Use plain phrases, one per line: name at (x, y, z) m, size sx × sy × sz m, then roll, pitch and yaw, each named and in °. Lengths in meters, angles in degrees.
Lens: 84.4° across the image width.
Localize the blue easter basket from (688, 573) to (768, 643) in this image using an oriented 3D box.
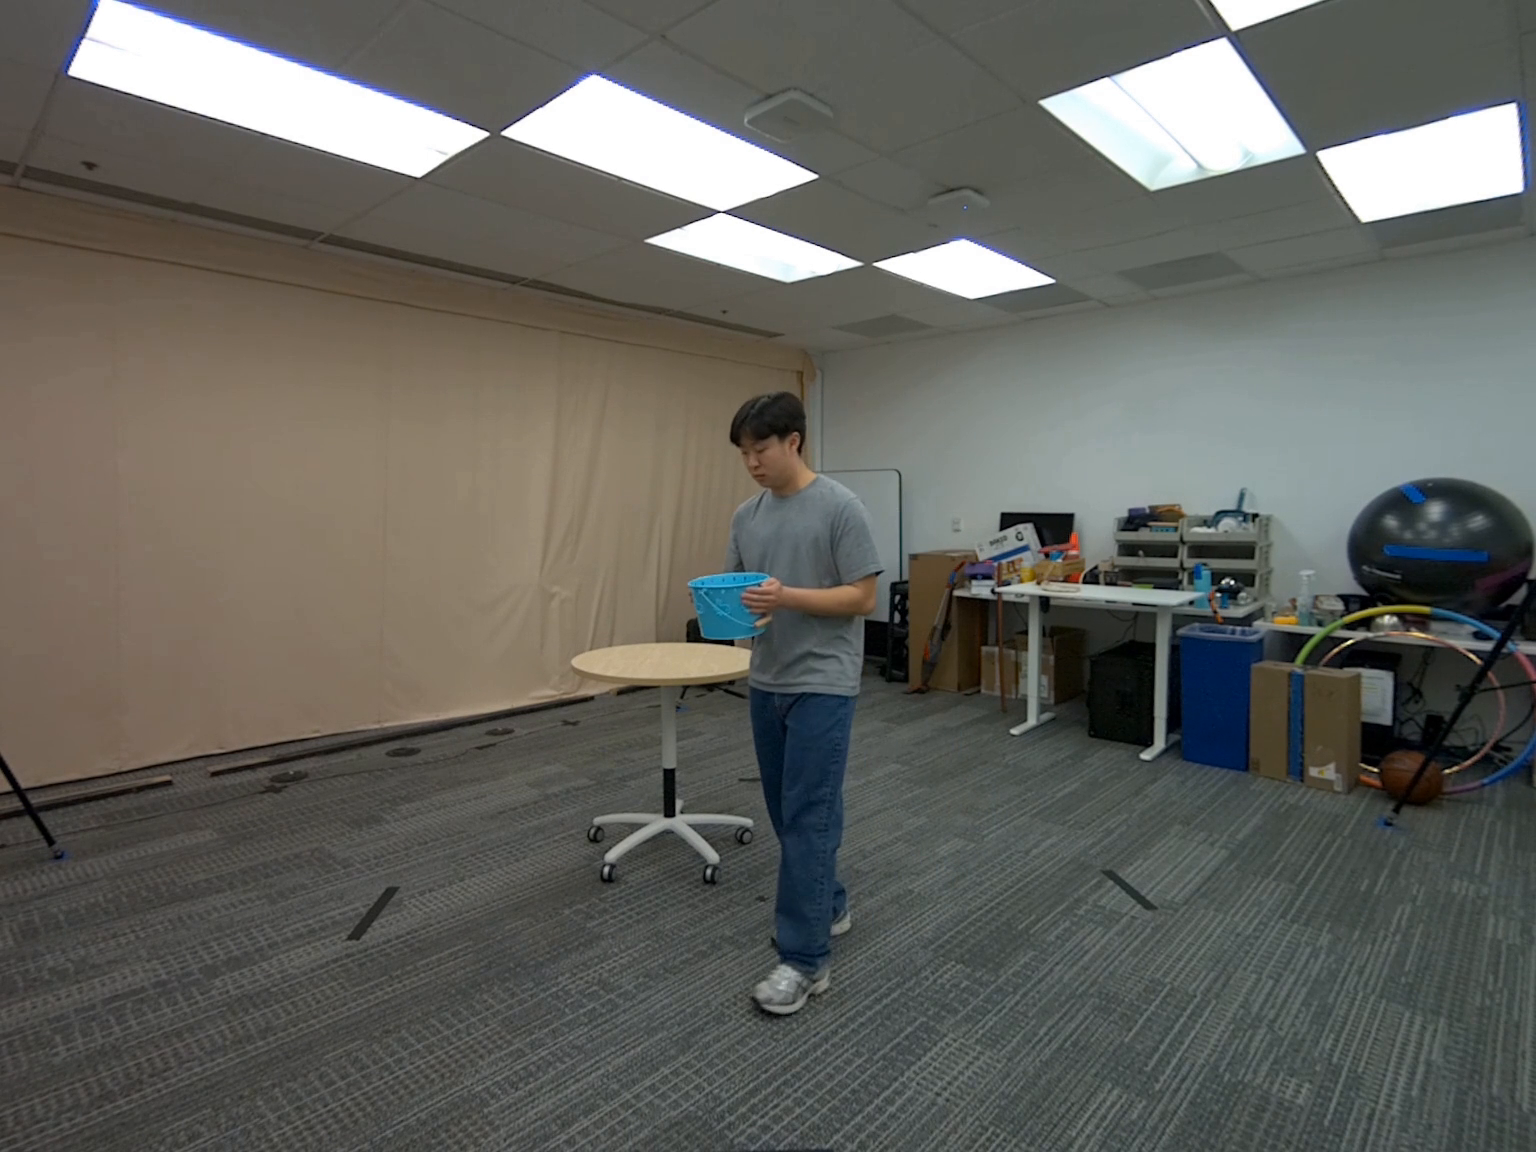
blue easter basket at (-0.090, 0.092, 2.401) m, size 0.243 × 0.155 × 0.245 m, roll -3°, pitch 6°, yaw -2°
